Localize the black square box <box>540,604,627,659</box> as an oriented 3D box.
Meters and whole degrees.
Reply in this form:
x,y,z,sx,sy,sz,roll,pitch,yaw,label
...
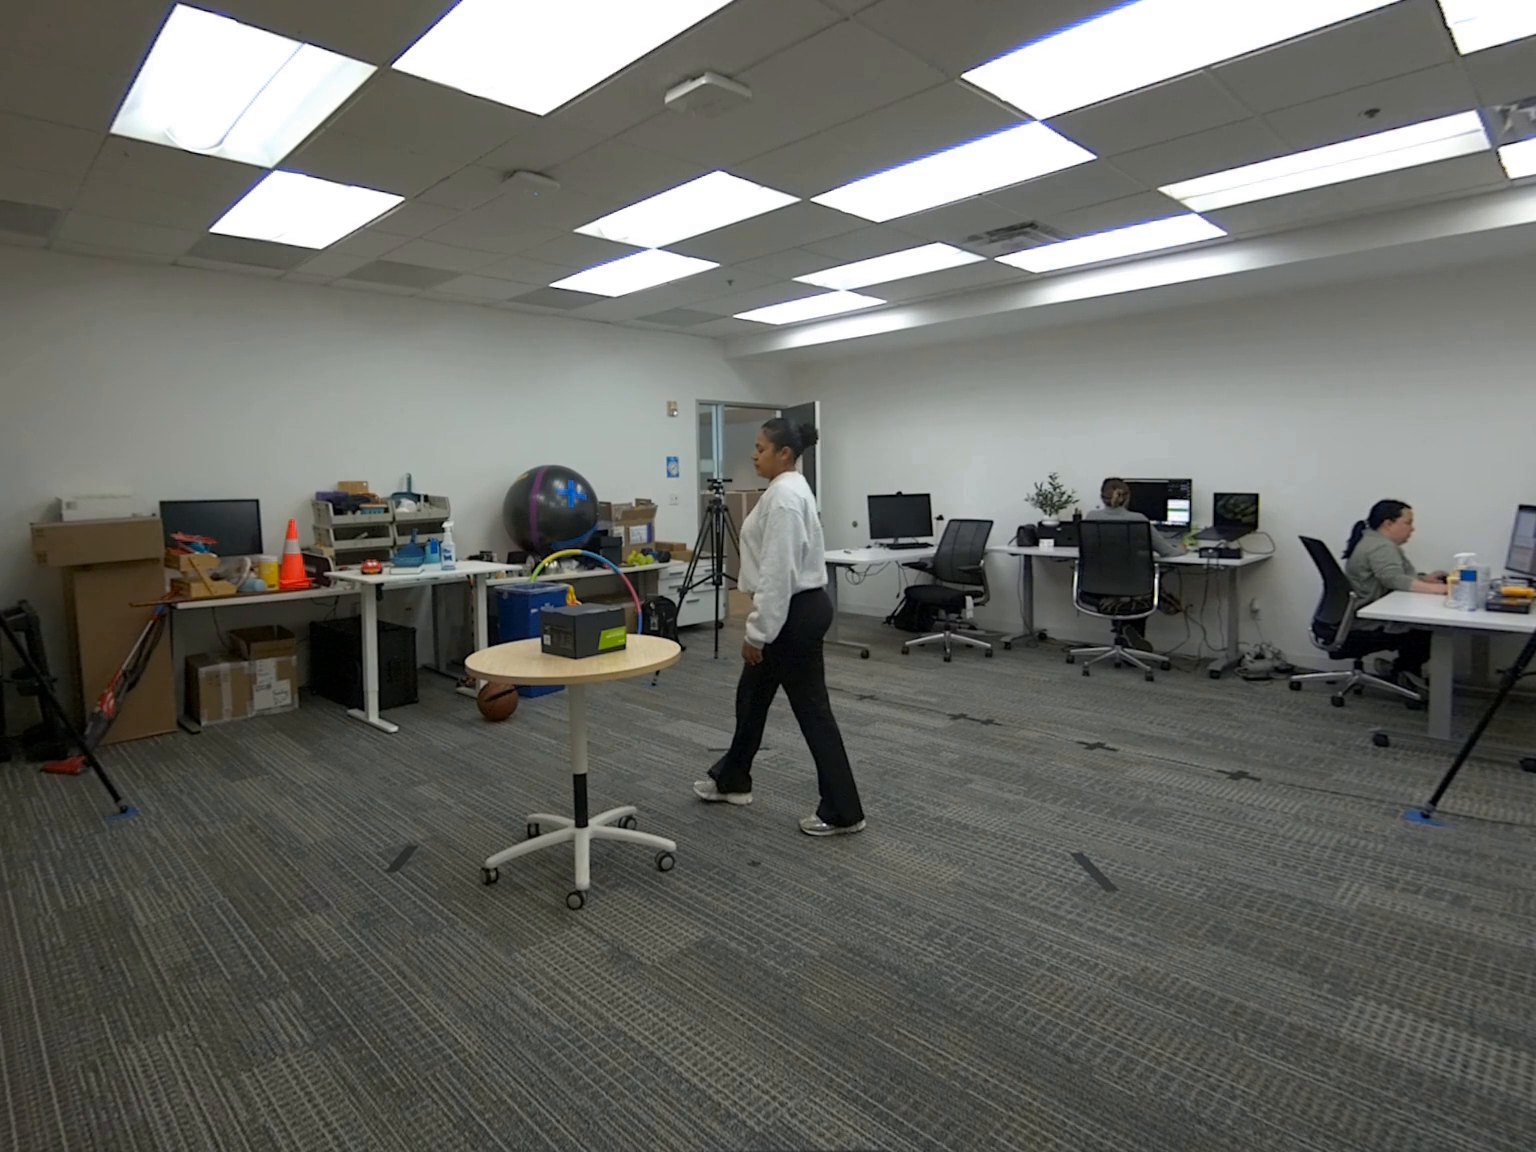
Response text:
x,y,z,sx,sy,sz,roll,pitch,yaw,label
-0.671,0.194,3.109,0.224,0.155,0.222,4,8,42,black square box
